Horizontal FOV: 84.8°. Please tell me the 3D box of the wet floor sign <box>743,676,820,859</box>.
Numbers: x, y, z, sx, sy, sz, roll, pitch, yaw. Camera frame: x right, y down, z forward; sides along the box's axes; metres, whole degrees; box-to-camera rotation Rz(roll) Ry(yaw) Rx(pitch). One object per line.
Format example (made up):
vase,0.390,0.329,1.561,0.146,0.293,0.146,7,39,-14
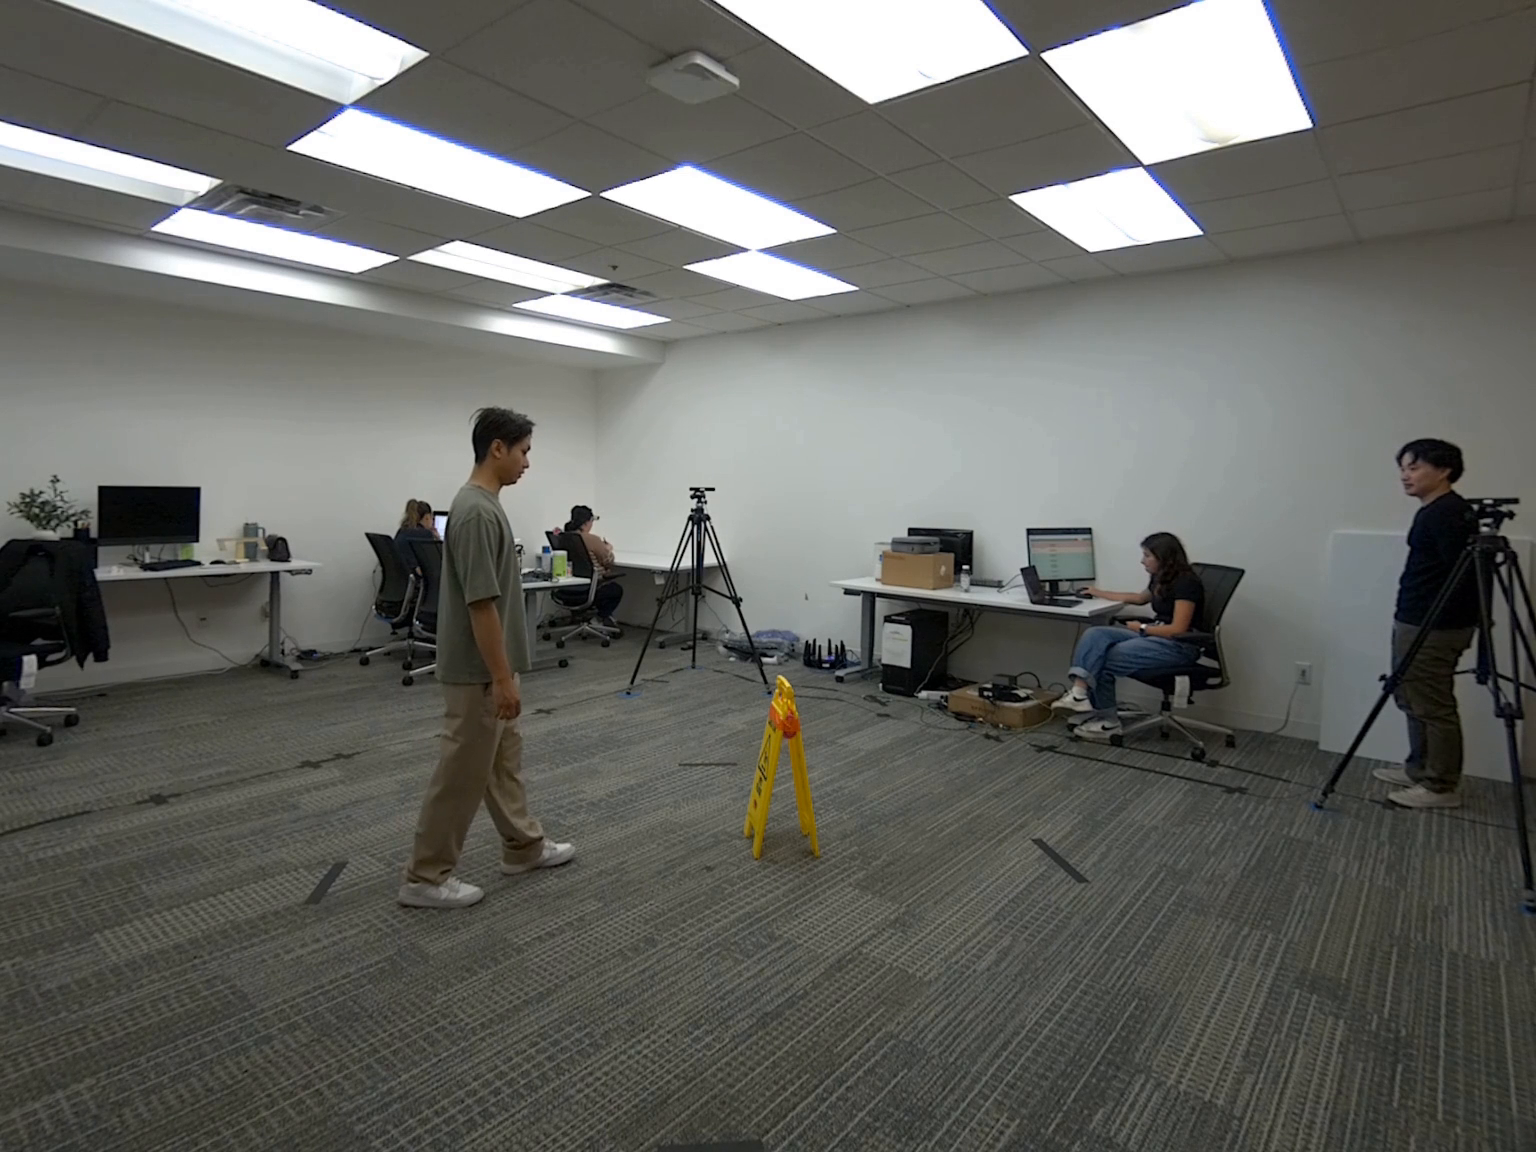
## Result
wet floor sign,0.046,0.730,3.320,0.287,0.644,0.286,1,4,-9
